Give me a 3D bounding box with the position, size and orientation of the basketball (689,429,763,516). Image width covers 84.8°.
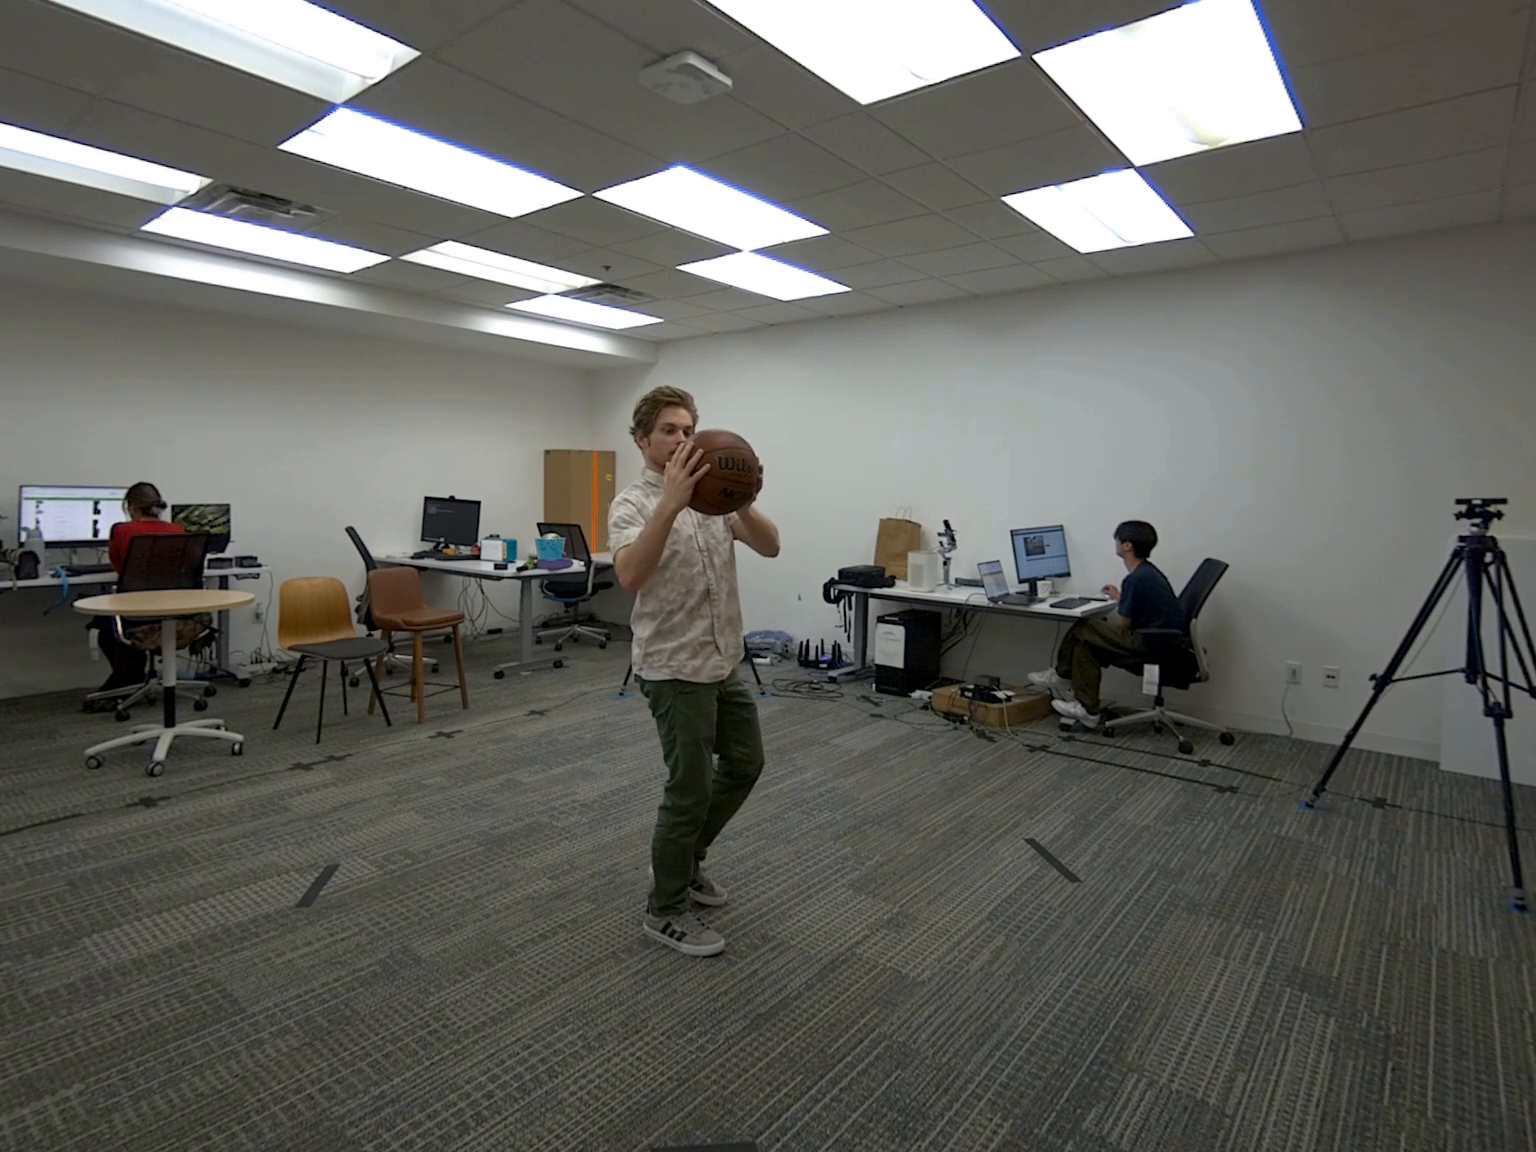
[{"bbox_3d":[-0.147,-0.285,2.326,0.235,0.235,0.237,1,4,-2],"label":"basketball"}]
